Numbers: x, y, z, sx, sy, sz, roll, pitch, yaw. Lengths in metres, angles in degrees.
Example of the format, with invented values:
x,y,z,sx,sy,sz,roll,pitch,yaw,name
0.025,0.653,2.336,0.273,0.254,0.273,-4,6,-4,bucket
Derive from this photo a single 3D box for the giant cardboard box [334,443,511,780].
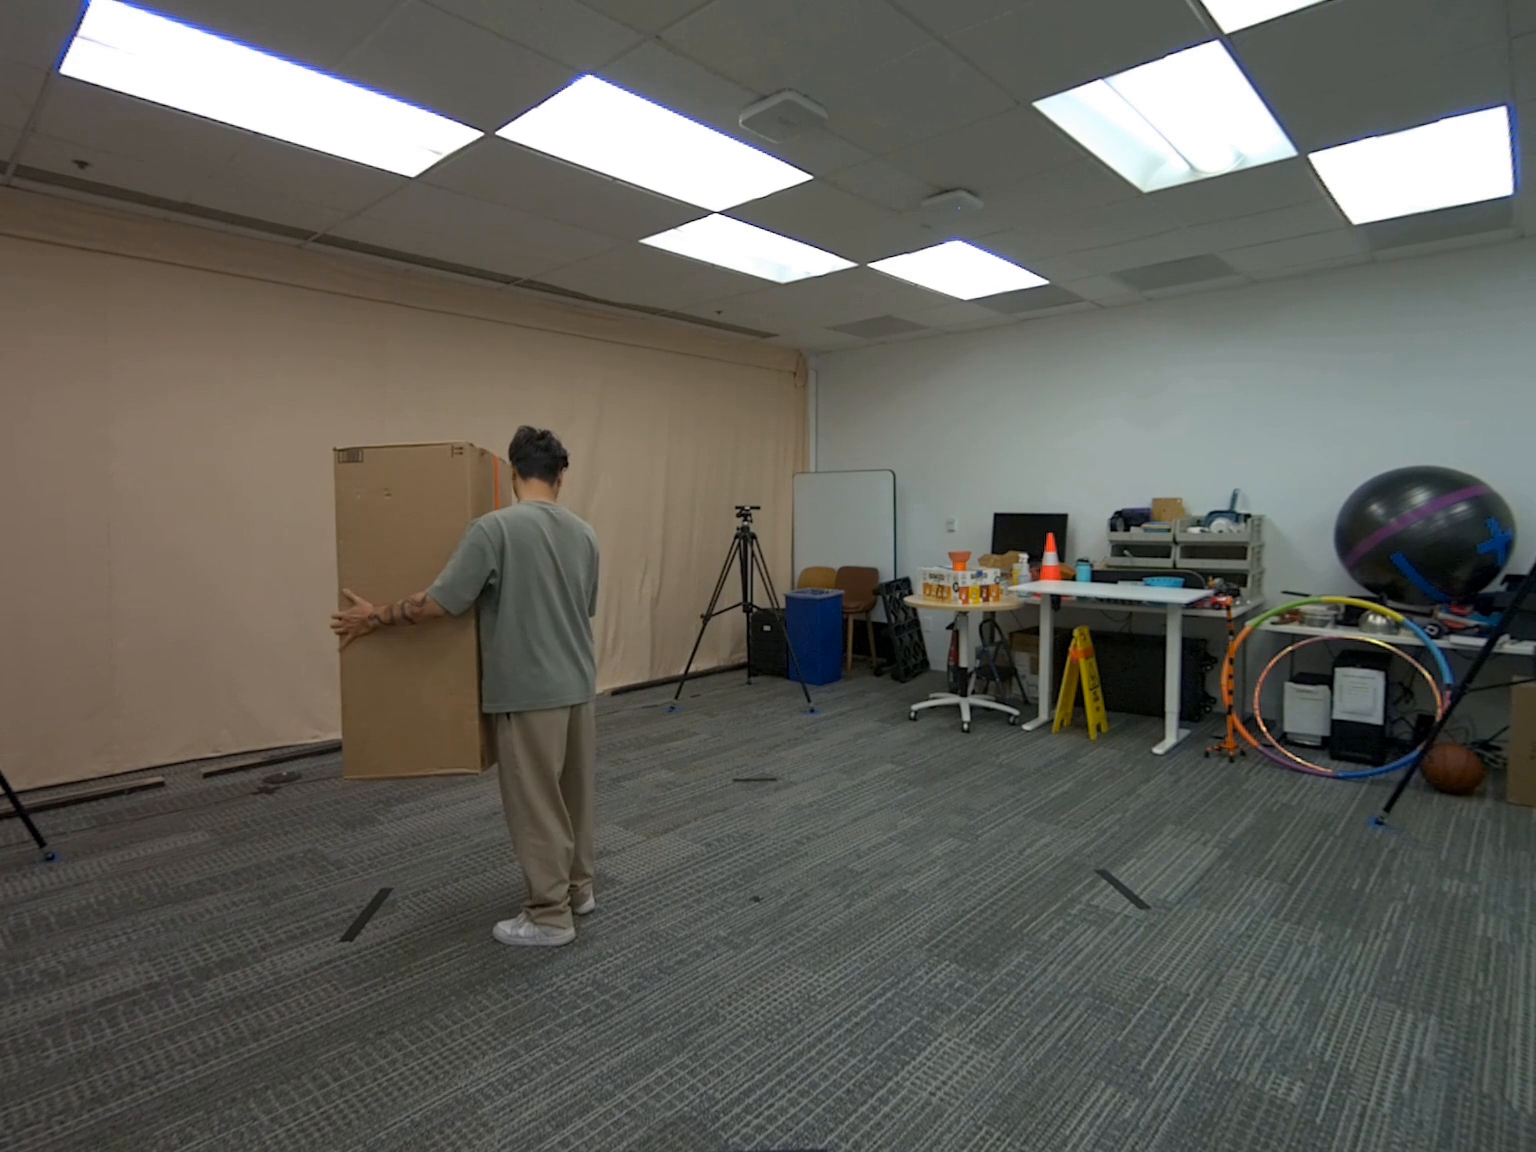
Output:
x,y,z,sx,sy,sz,roll,pitch,yaw,name
-1.123,0.108,2.840,0.424,1.028,0.579,-3,-3,-5,giant cardboard box
